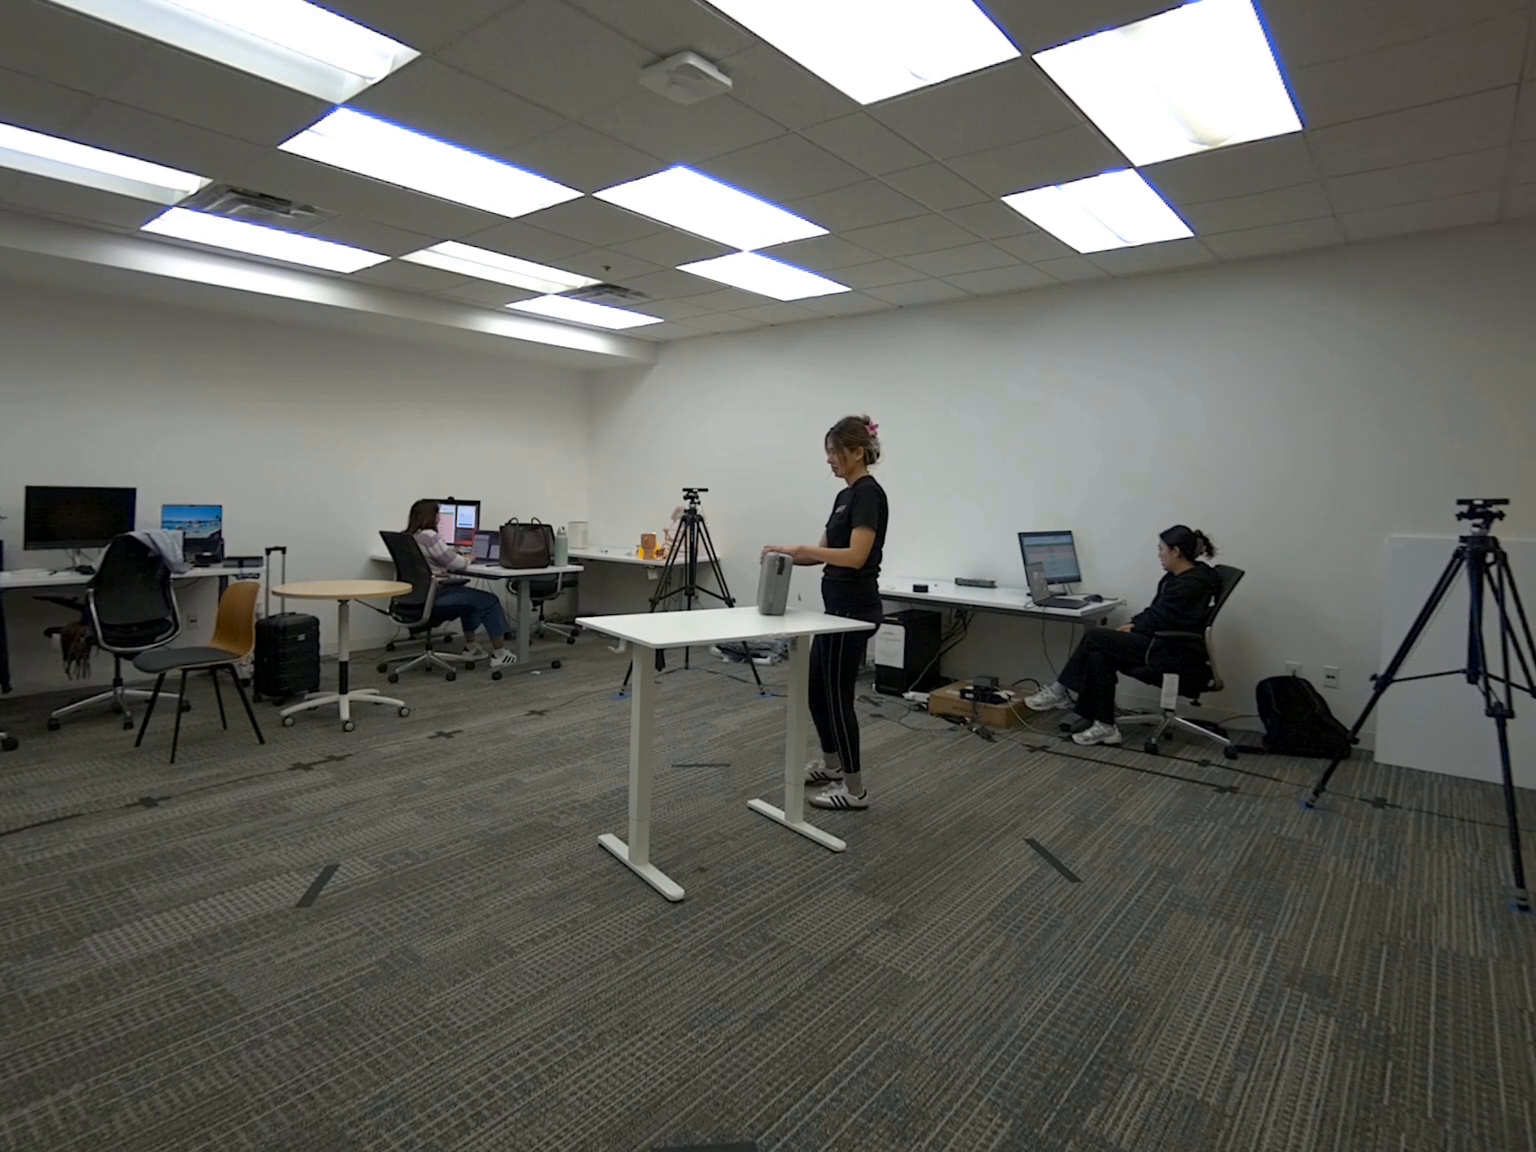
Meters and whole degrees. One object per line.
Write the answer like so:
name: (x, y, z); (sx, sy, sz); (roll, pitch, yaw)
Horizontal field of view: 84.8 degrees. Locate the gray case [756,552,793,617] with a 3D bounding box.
gray case: (0.011, 0.024, 3.574); (0.104, 0.256, 0.263); (4, 4, -7)
